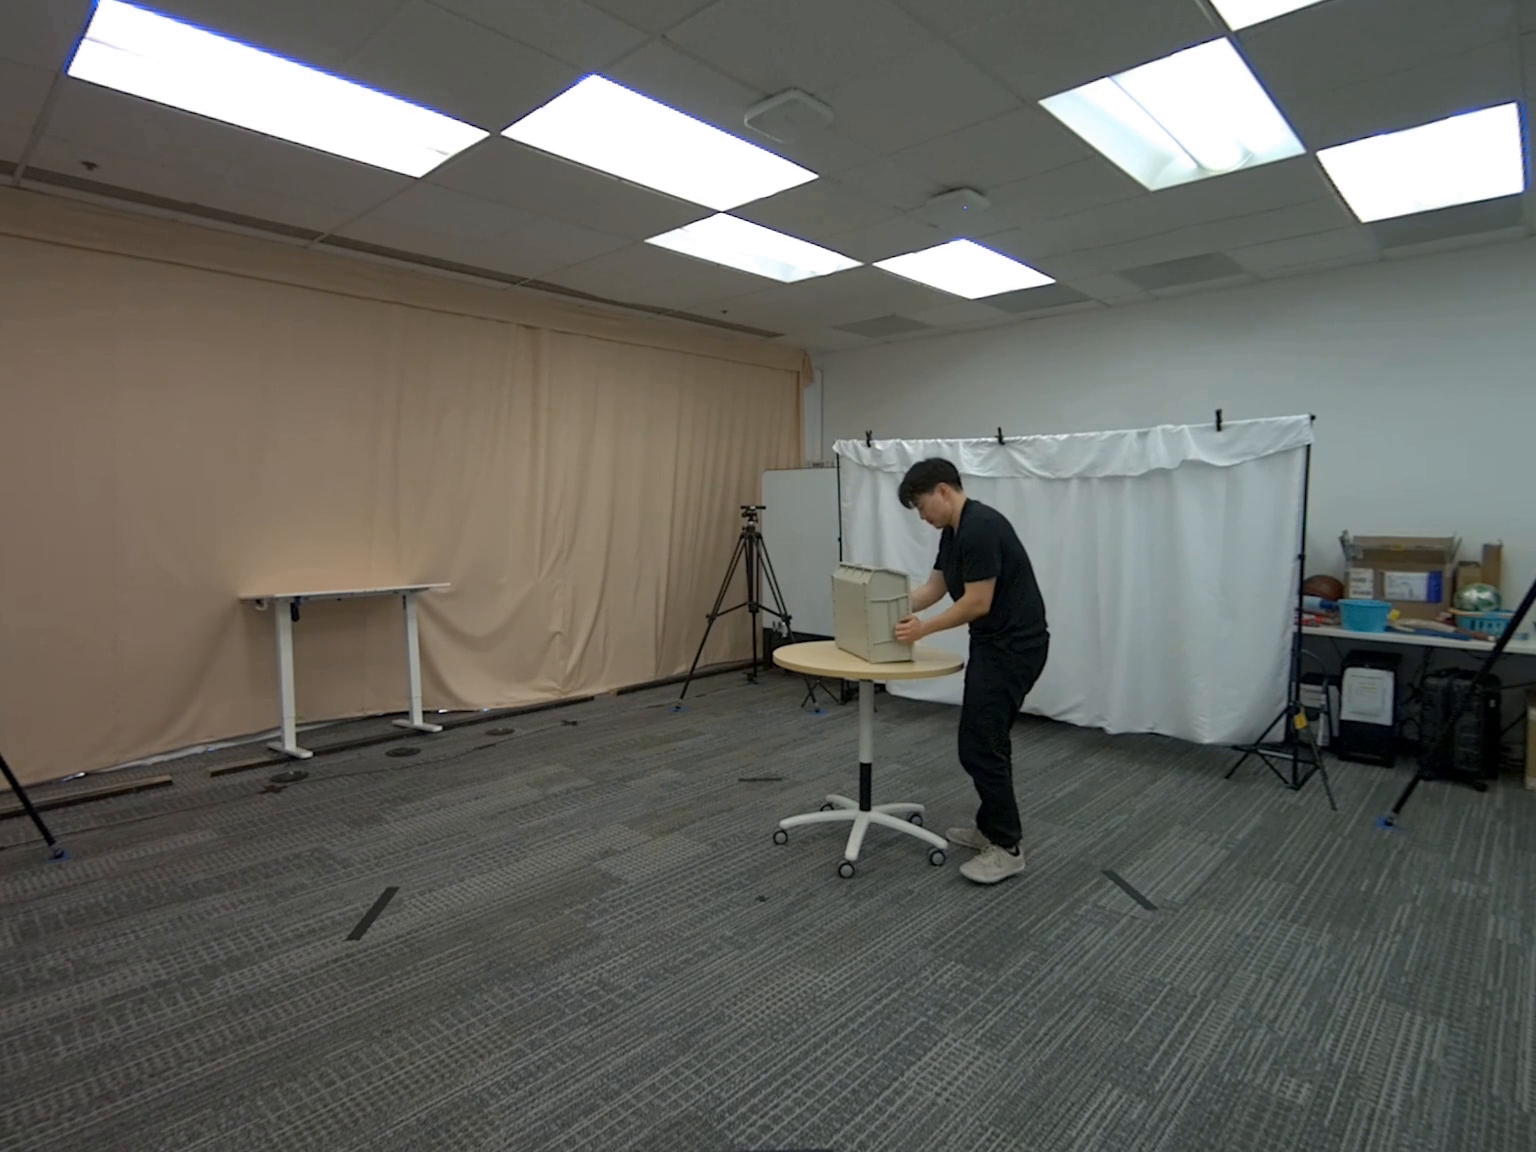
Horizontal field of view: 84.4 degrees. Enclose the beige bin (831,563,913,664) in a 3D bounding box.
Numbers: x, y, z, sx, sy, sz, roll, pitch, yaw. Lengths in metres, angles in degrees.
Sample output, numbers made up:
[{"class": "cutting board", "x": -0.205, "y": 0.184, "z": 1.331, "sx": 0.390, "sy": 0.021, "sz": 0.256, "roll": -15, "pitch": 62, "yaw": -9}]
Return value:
[{"class": "beige bin", "x": 0.416, "y": 0.138, "z": 3.427, "sx": 0.187, "sy": 0.376, "sz": 0.428, "roll": -4, "pitch": 4, "yaw": -13}]
